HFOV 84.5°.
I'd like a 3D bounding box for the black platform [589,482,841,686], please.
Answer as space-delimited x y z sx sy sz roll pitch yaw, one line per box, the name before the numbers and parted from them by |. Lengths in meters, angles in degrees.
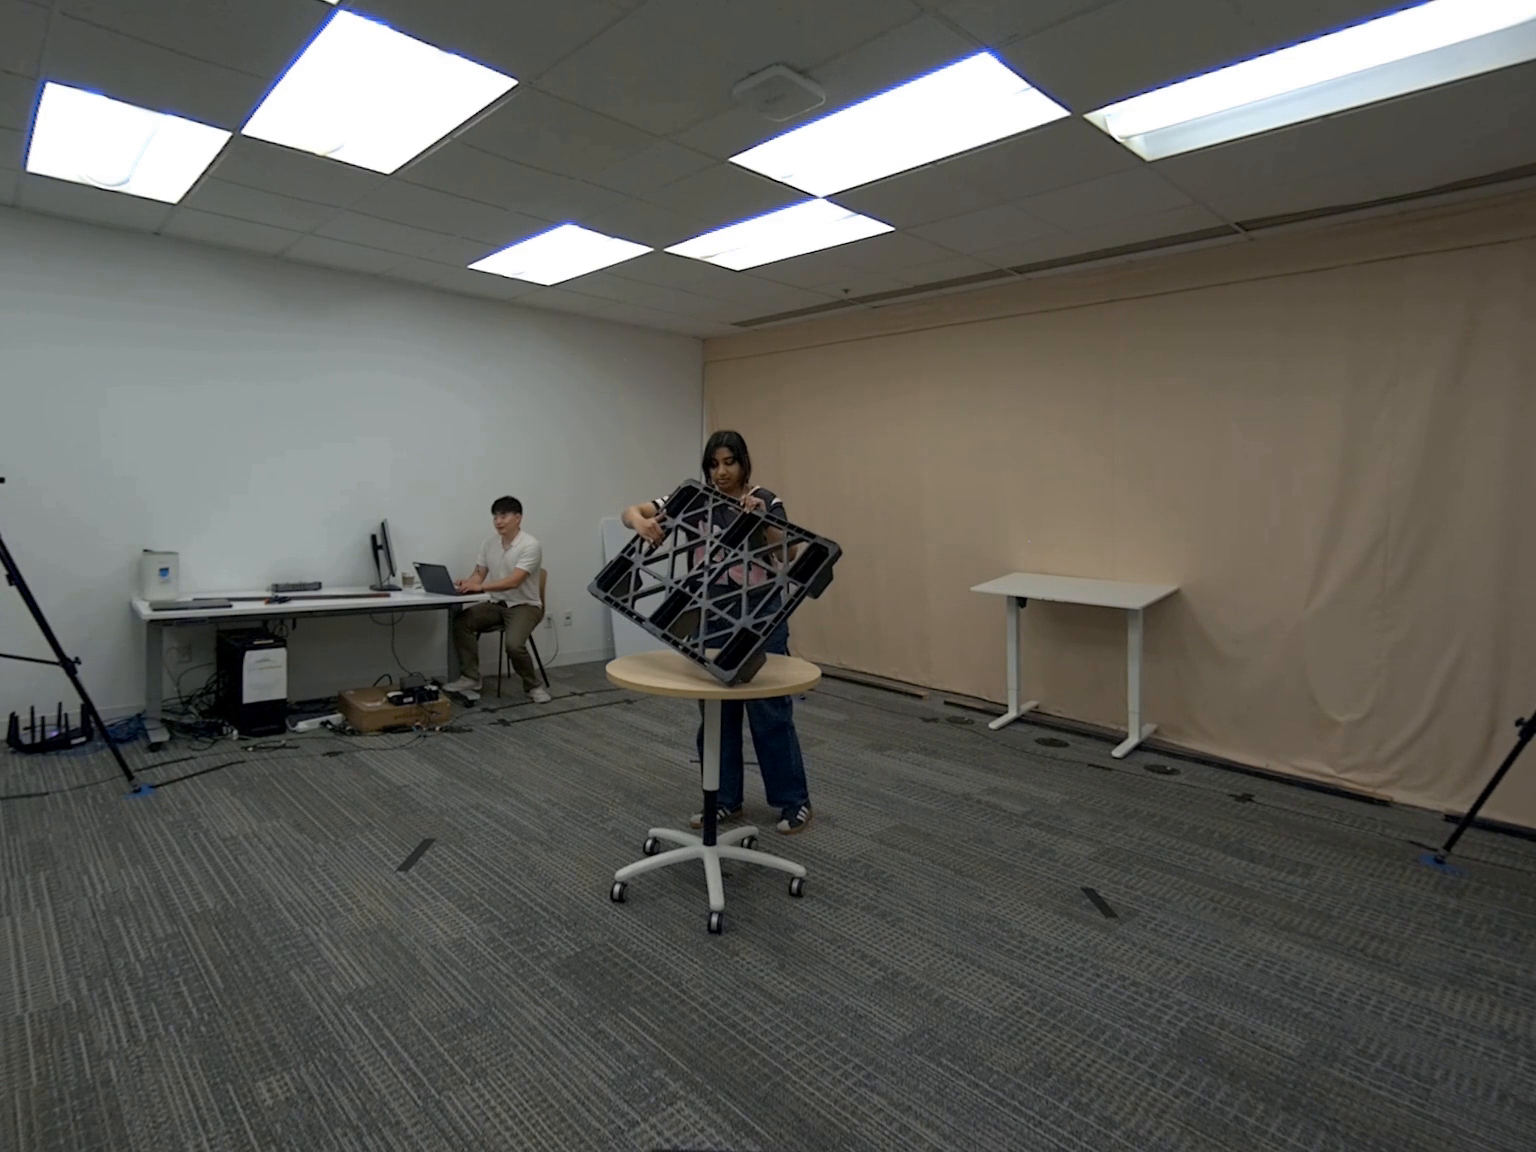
black platform | -0.205 0.006 3.024 0.830 0.605 0.139 27 -21 39
